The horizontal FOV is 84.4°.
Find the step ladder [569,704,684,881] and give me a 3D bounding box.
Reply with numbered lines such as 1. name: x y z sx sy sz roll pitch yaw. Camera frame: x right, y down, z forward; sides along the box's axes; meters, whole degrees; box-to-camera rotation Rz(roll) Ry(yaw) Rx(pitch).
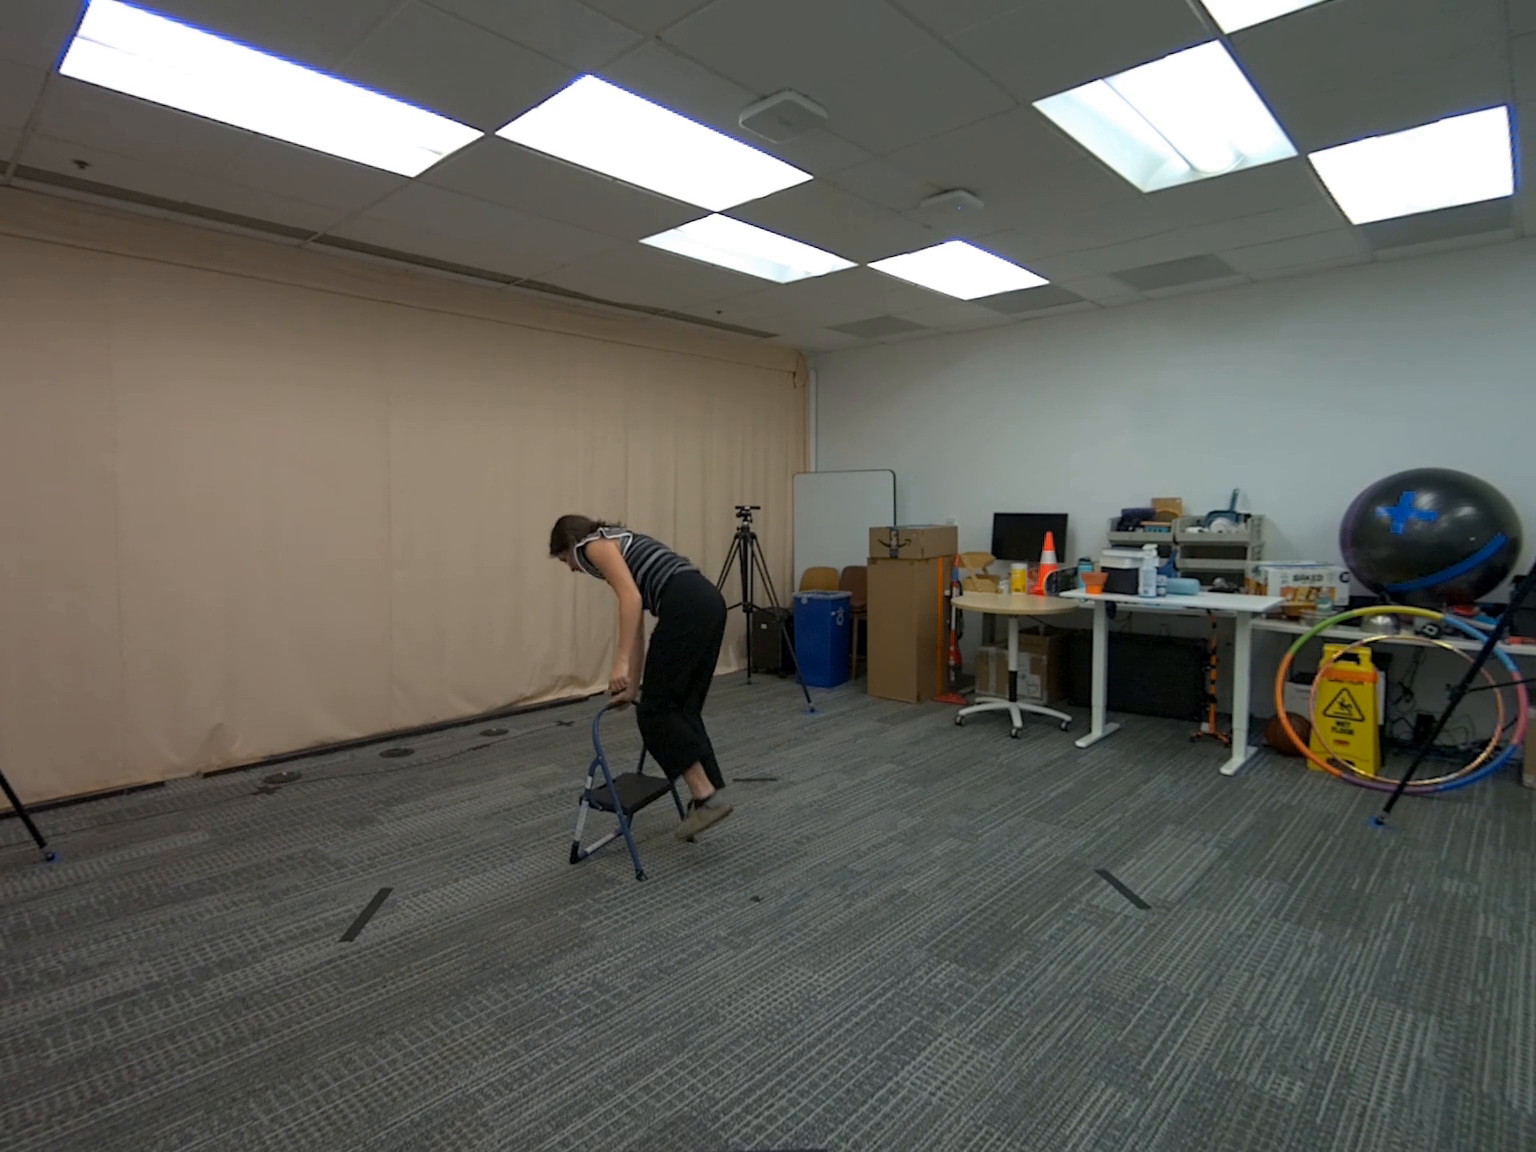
1. step ladder: -0.544 0.815 3.386 0.358 0.605 0.421 1 3 24
